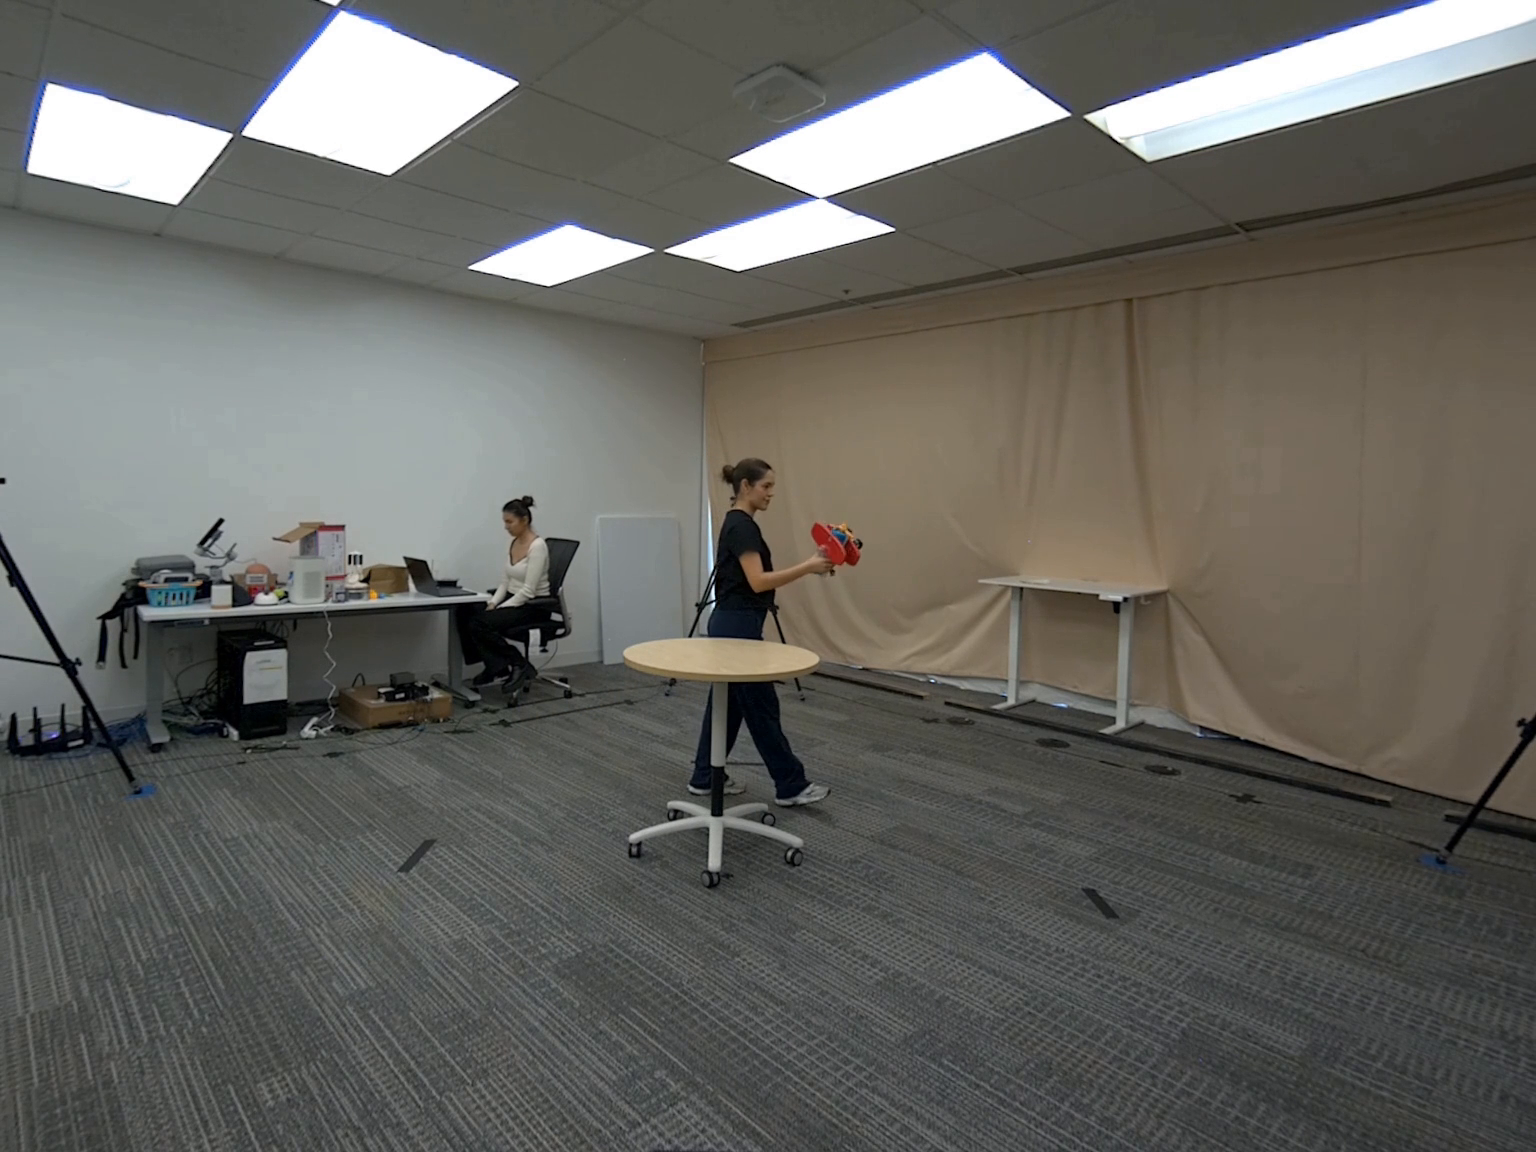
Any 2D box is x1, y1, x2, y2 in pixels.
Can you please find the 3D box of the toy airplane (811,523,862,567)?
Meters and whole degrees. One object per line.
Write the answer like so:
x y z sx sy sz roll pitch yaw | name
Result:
0.282 -0.092 3.682 0.152 0.259 0.258 21 -4 -43 | toy airplane
